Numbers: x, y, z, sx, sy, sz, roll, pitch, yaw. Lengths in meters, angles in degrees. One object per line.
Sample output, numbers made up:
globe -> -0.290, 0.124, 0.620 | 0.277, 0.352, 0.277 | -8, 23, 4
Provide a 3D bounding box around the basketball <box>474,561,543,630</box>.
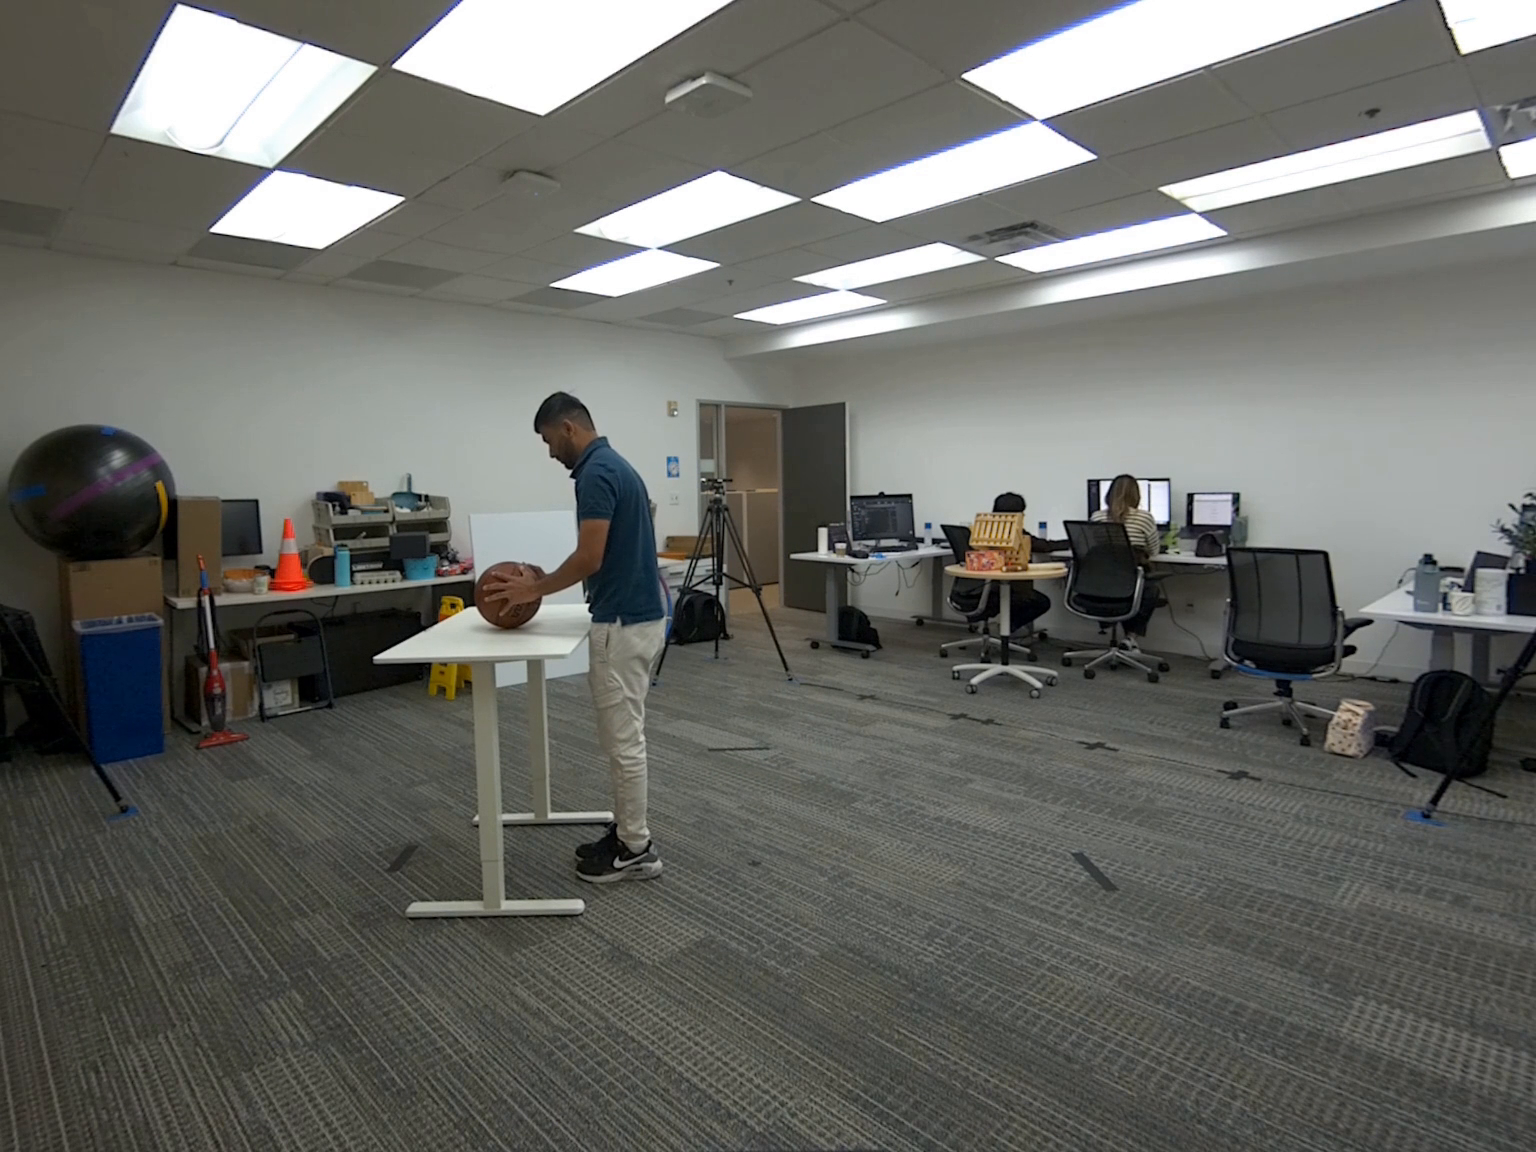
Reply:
basketball -> -0.930, 0.067, 3.060 | 0.236, 0.235, 0.237 | -1, 5, -2
